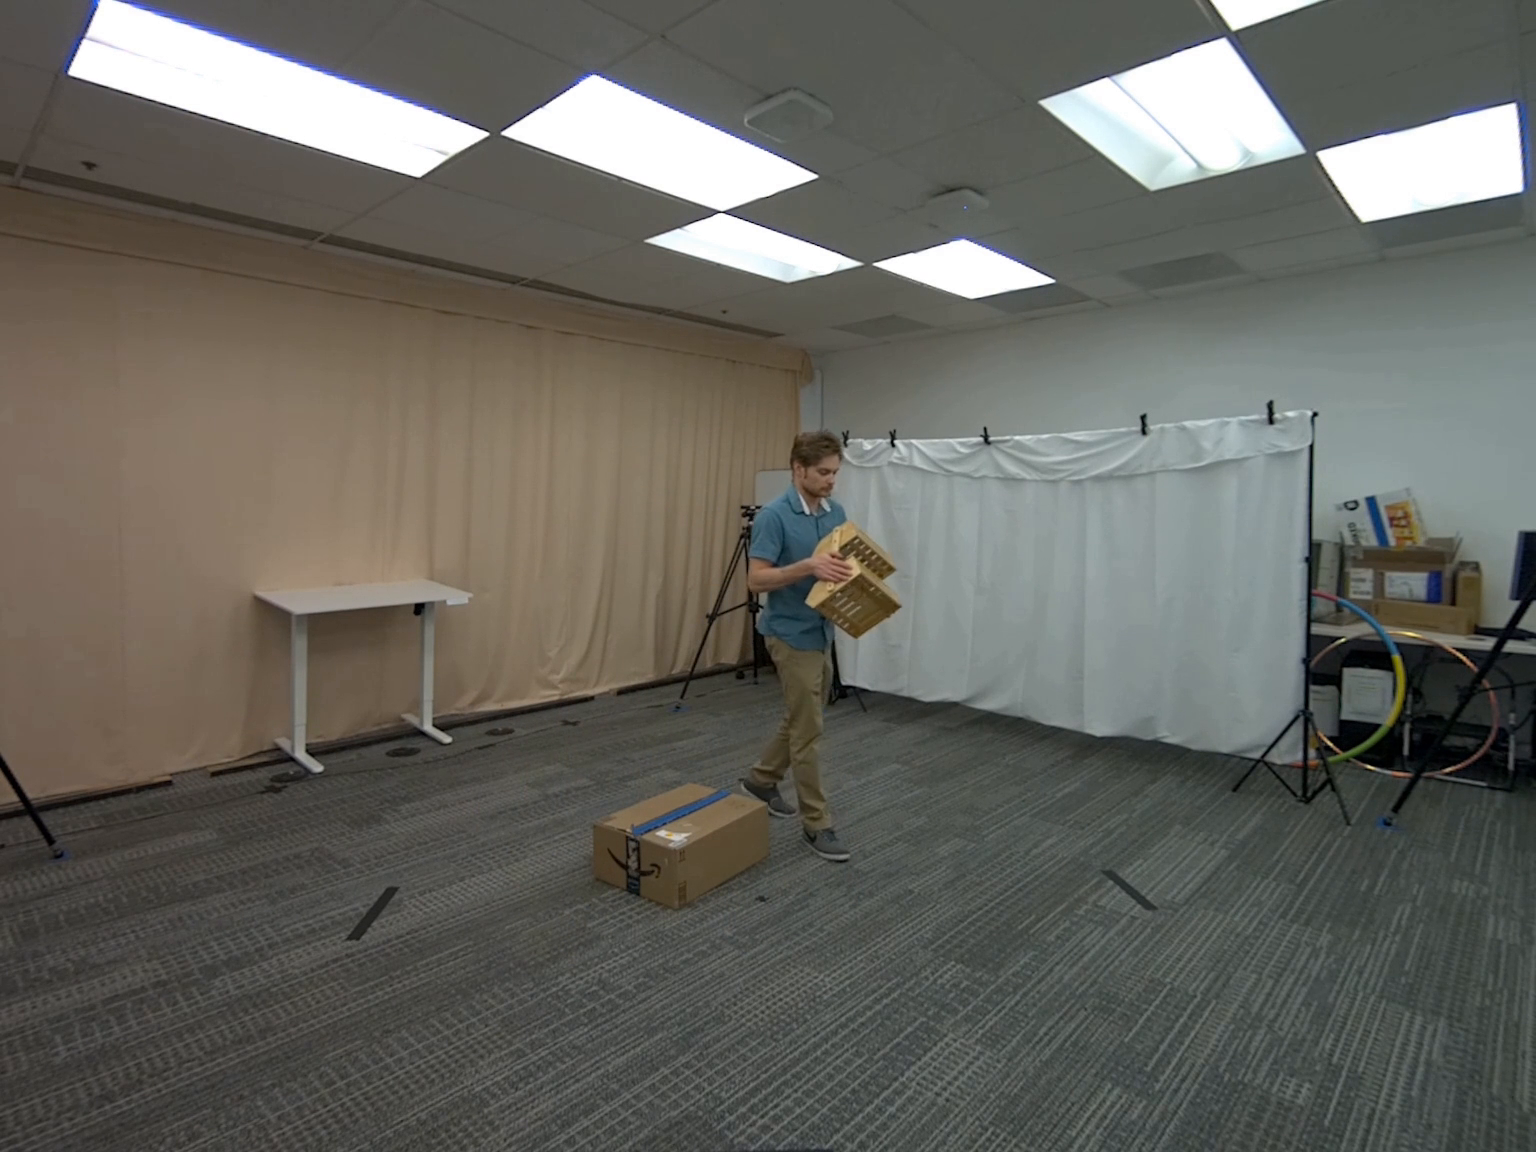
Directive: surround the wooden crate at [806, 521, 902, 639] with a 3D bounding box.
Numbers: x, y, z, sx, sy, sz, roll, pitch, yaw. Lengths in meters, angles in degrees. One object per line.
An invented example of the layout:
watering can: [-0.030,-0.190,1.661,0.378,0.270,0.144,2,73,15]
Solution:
wooden crate: [0.319,0.020,3.319,0.304,0.281,0.313,-38,-48,19]
